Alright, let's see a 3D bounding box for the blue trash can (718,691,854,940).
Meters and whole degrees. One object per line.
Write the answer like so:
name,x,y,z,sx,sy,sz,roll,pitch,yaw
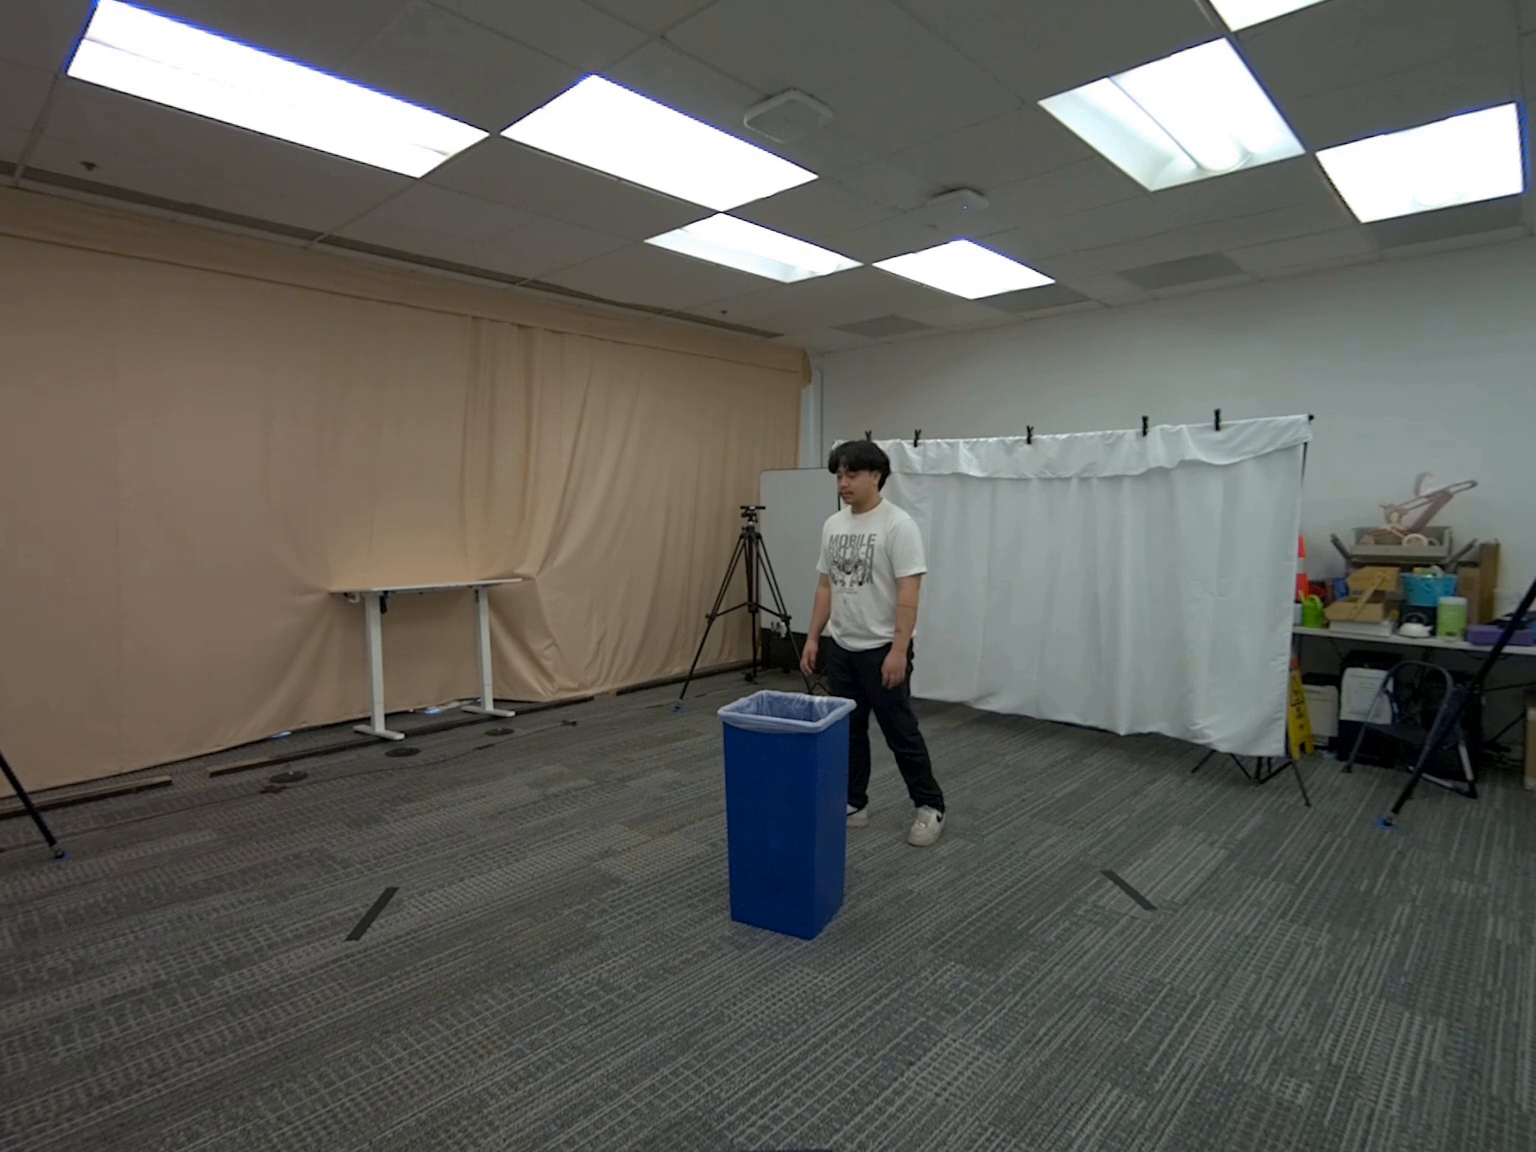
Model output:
blue trash can,0.070,0.794,2.866,0.388,0.712,0.365,1,3,27
